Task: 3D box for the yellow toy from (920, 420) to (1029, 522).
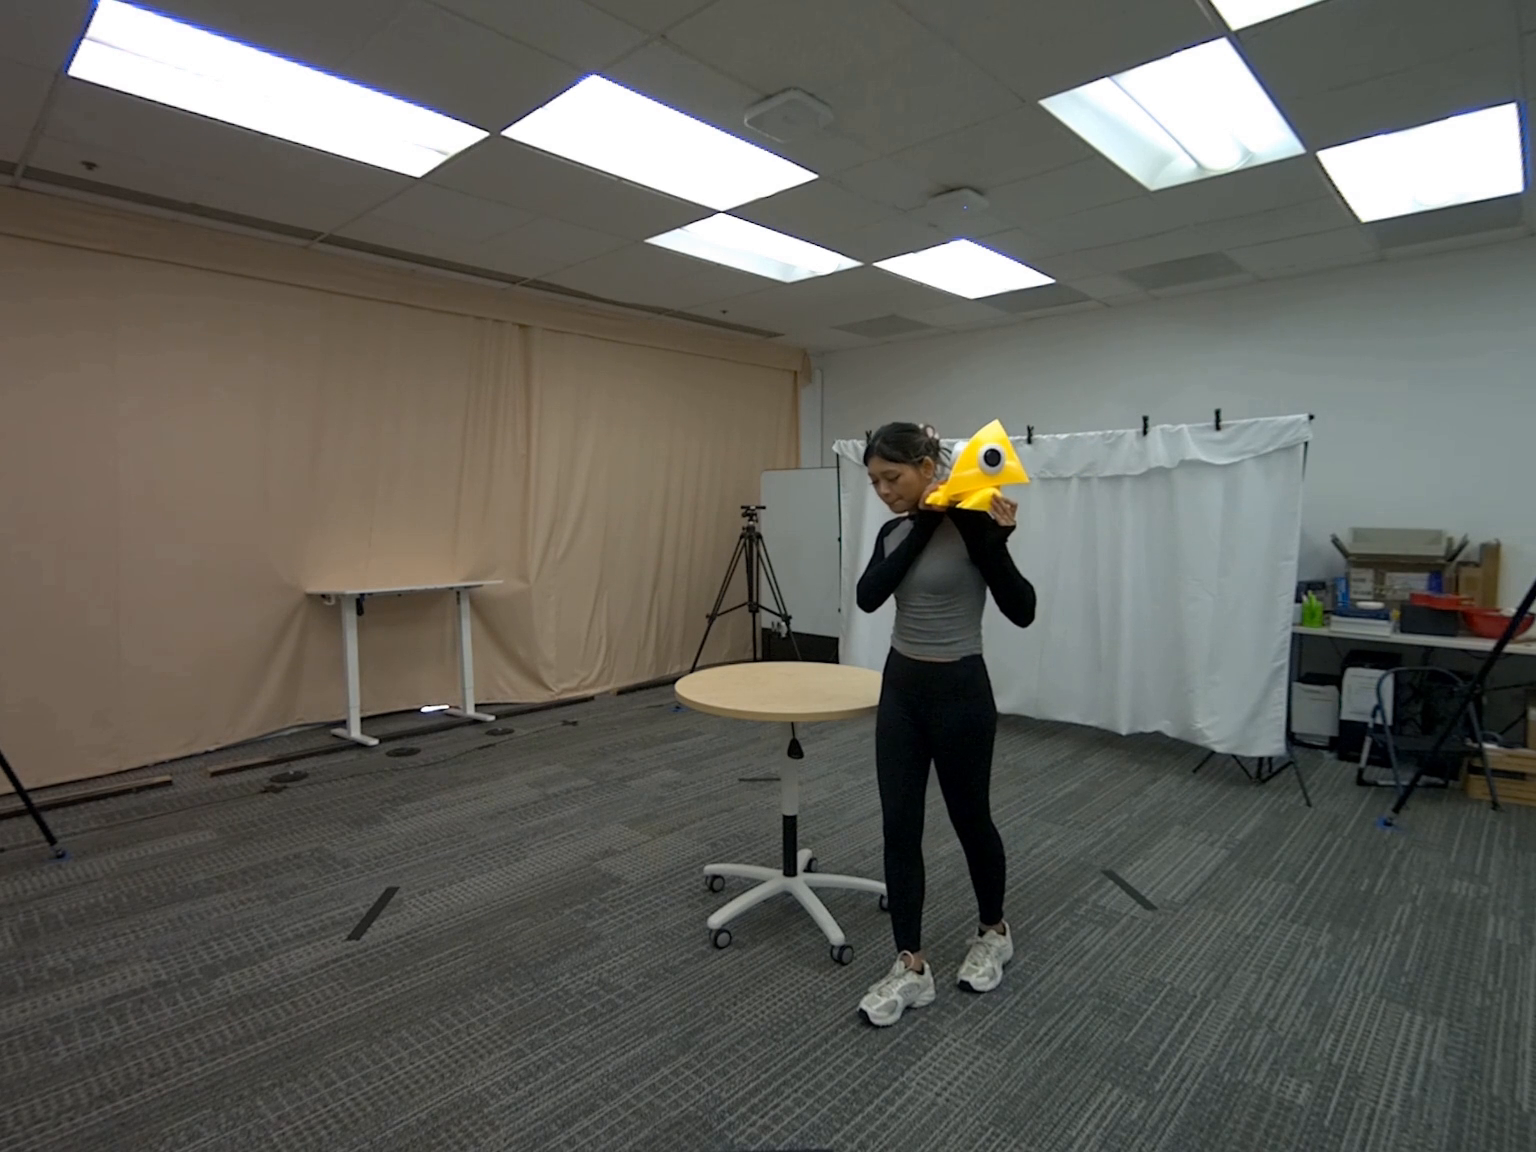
[{"bbox_3d":[0.539,-0.289,2.156,0.187,0.230,0.211,1,9,-33],"label":"yellow toy"}]
